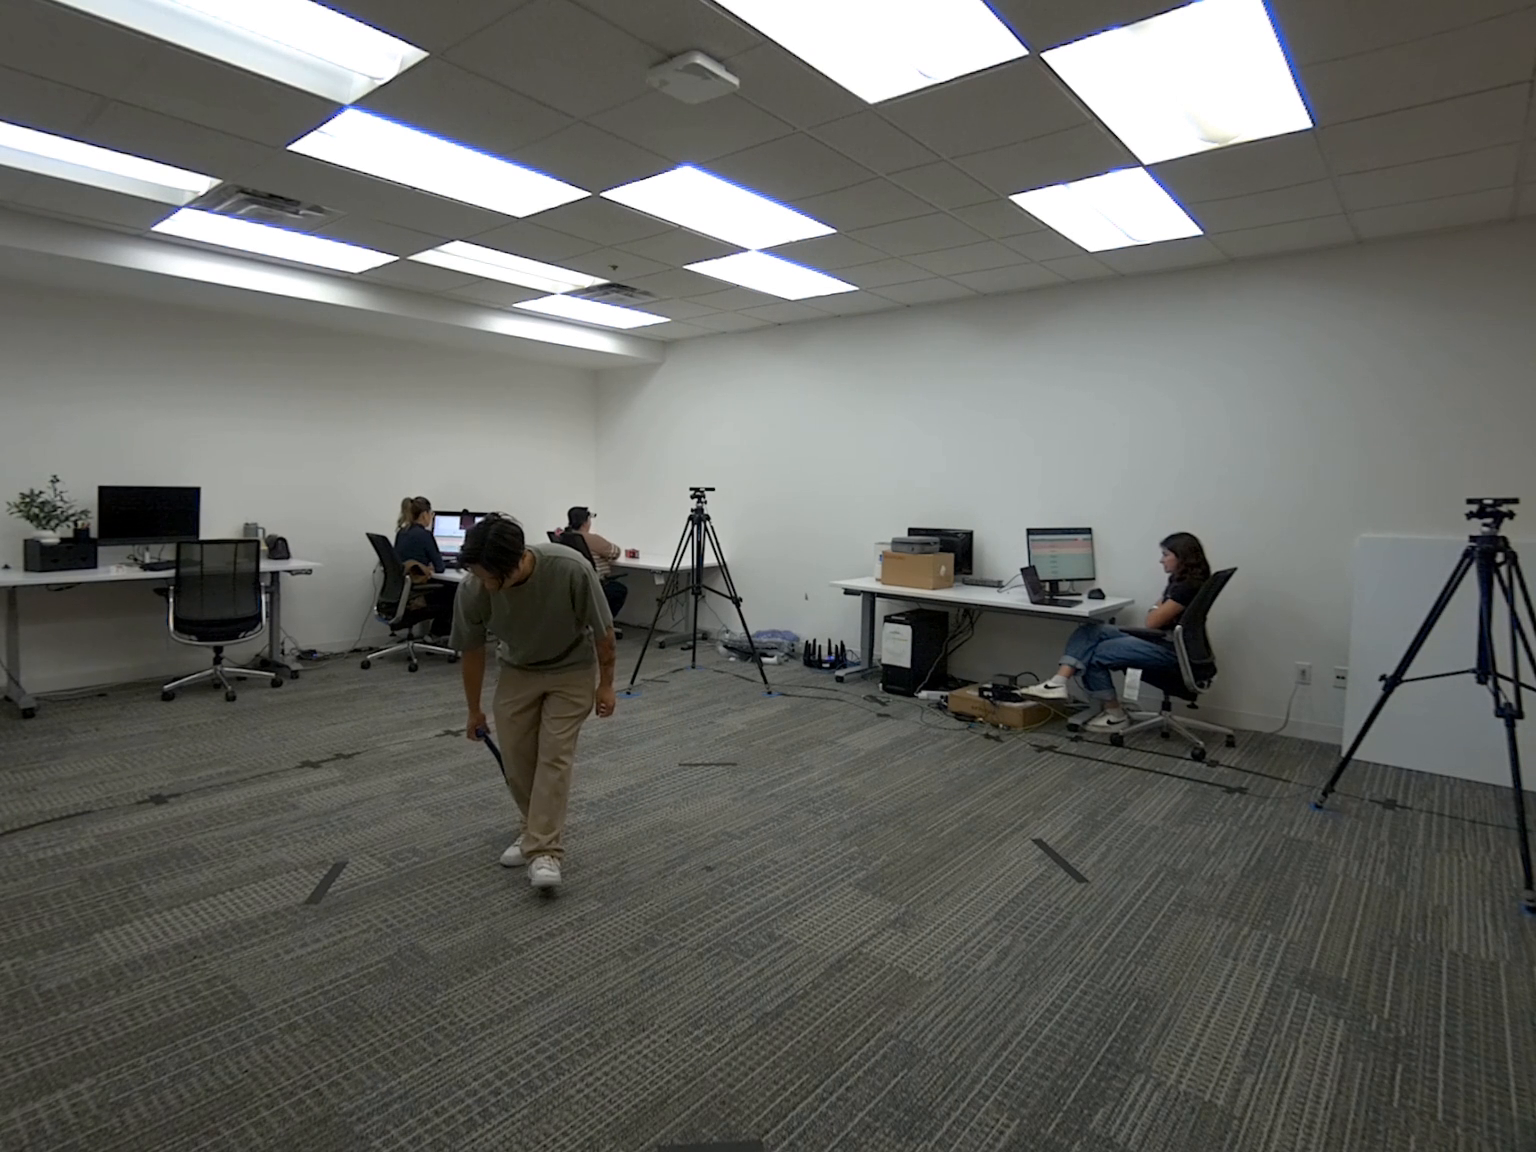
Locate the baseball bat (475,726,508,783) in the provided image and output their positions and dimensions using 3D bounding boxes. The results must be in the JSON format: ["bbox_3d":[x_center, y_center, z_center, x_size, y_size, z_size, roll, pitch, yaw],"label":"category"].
[{"bbox_3d":[-1.025,0.791,3.354,0.090,0.524,0.091,-17,32,10],"label":"baseball bat"}]
